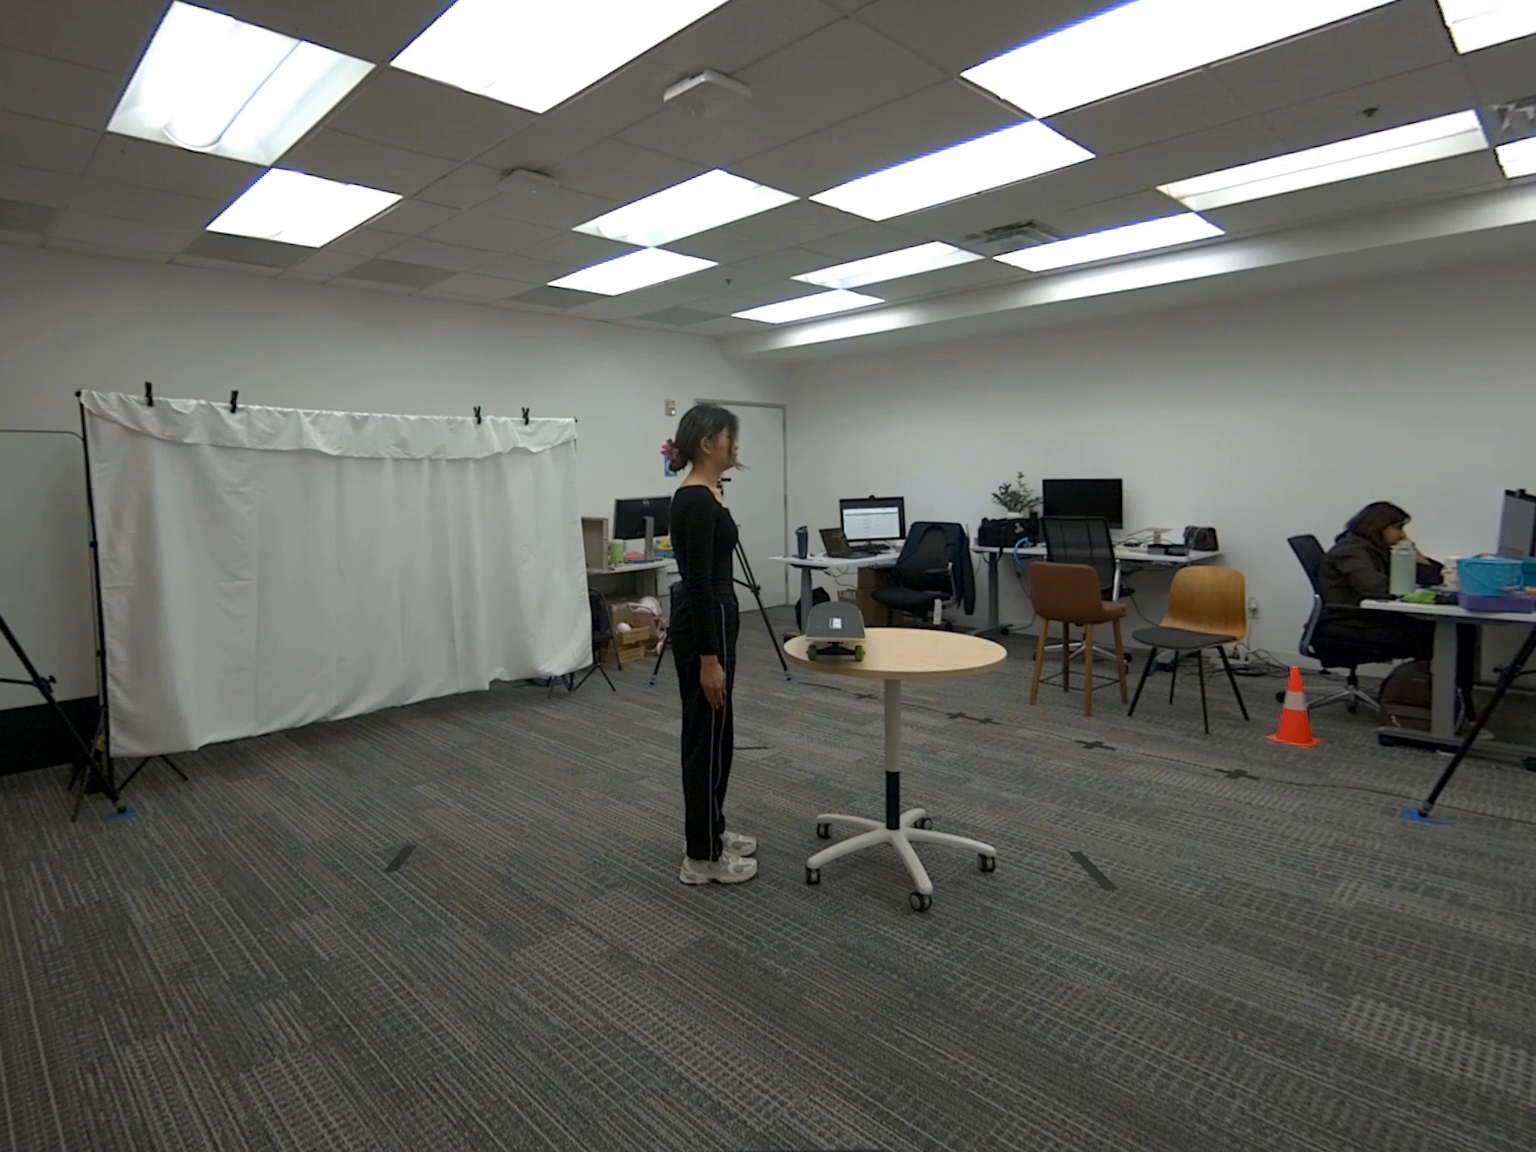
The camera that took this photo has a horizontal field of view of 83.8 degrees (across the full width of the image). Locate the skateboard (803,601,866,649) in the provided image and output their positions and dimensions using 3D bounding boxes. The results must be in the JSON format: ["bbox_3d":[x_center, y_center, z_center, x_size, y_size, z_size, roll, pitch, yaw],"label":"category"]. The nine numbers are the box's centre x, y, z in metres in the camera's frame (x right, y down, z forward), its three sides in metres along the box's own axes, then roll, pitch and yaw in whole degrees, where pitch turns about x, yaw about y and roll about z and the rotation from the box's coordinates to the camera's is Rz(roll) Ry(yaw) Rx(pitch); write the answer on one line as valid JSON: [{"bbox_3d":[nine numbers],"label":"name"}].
[{"bbox_3d":[0.232,0.205,2.987,0.195,0.110,0.784,0,7,5],"label":"skateboard"}]
